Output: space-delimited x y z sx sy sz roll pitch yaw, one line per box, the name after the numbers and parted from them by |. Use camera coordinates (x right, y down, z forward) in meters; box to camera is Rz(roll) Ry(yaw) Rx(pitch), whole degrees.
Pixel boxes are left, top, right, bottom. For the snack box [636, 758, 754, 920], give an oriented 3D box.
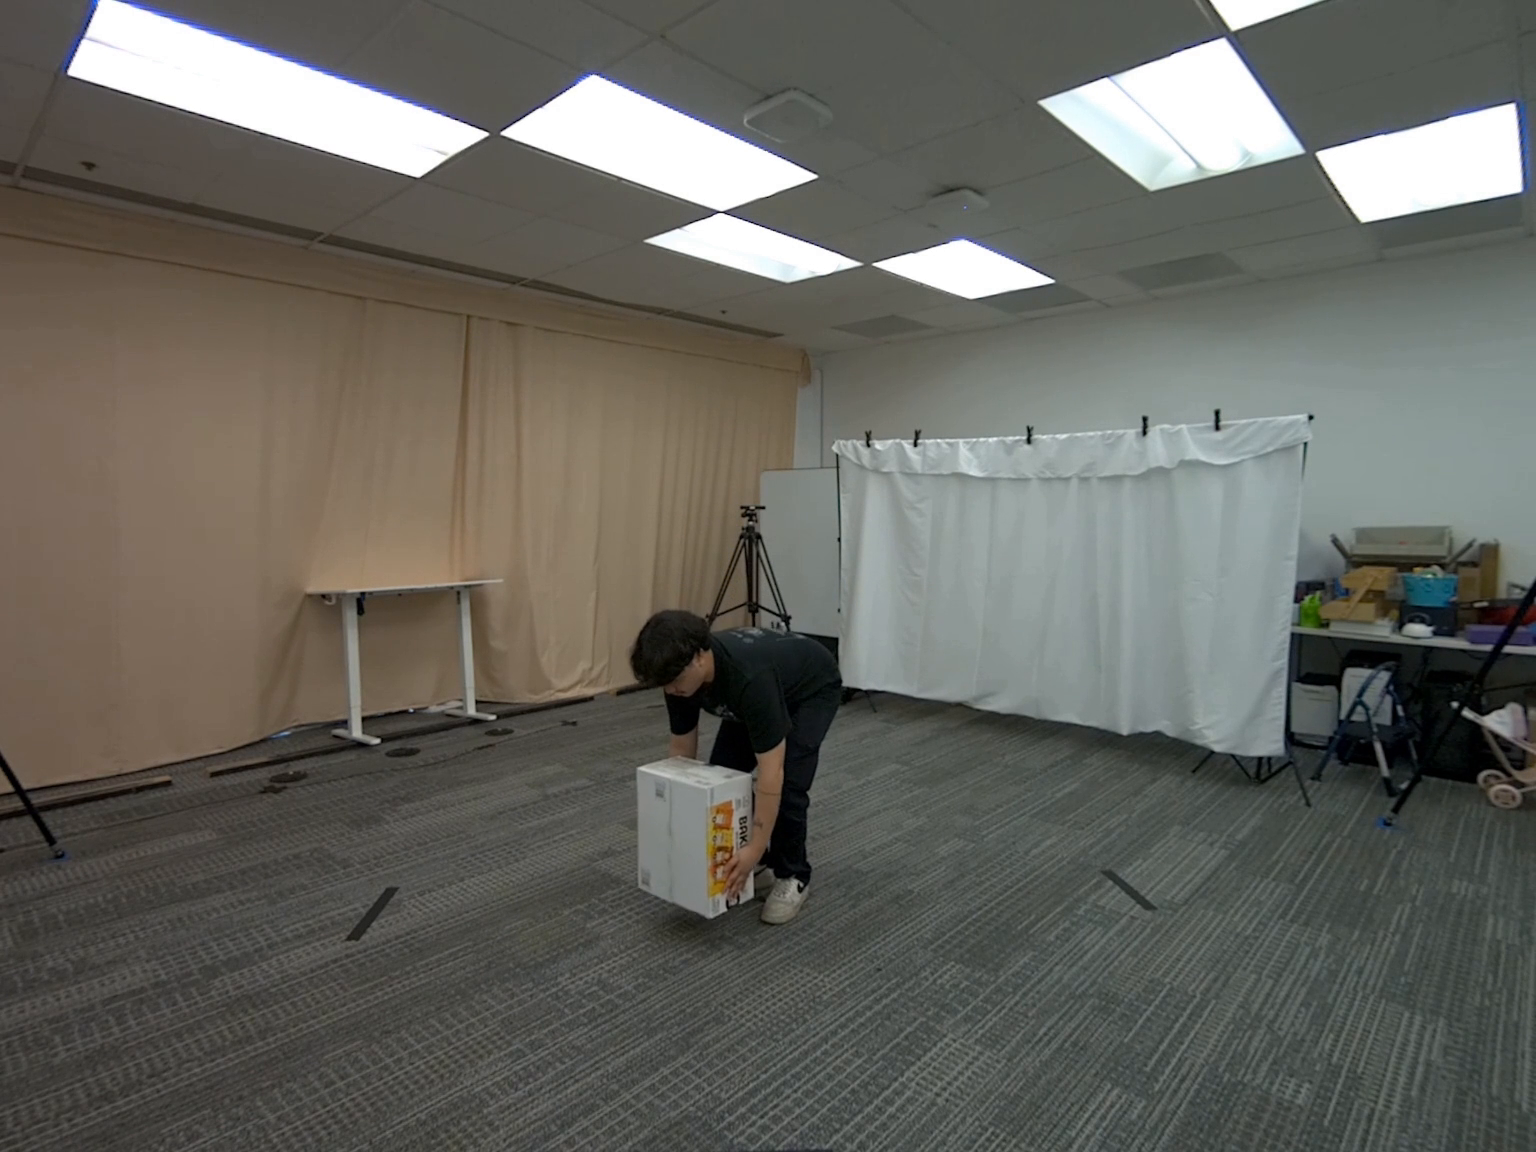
-0.241 0.833 2.761 0.351 0.405 0.199 1 3 42 | snack box
